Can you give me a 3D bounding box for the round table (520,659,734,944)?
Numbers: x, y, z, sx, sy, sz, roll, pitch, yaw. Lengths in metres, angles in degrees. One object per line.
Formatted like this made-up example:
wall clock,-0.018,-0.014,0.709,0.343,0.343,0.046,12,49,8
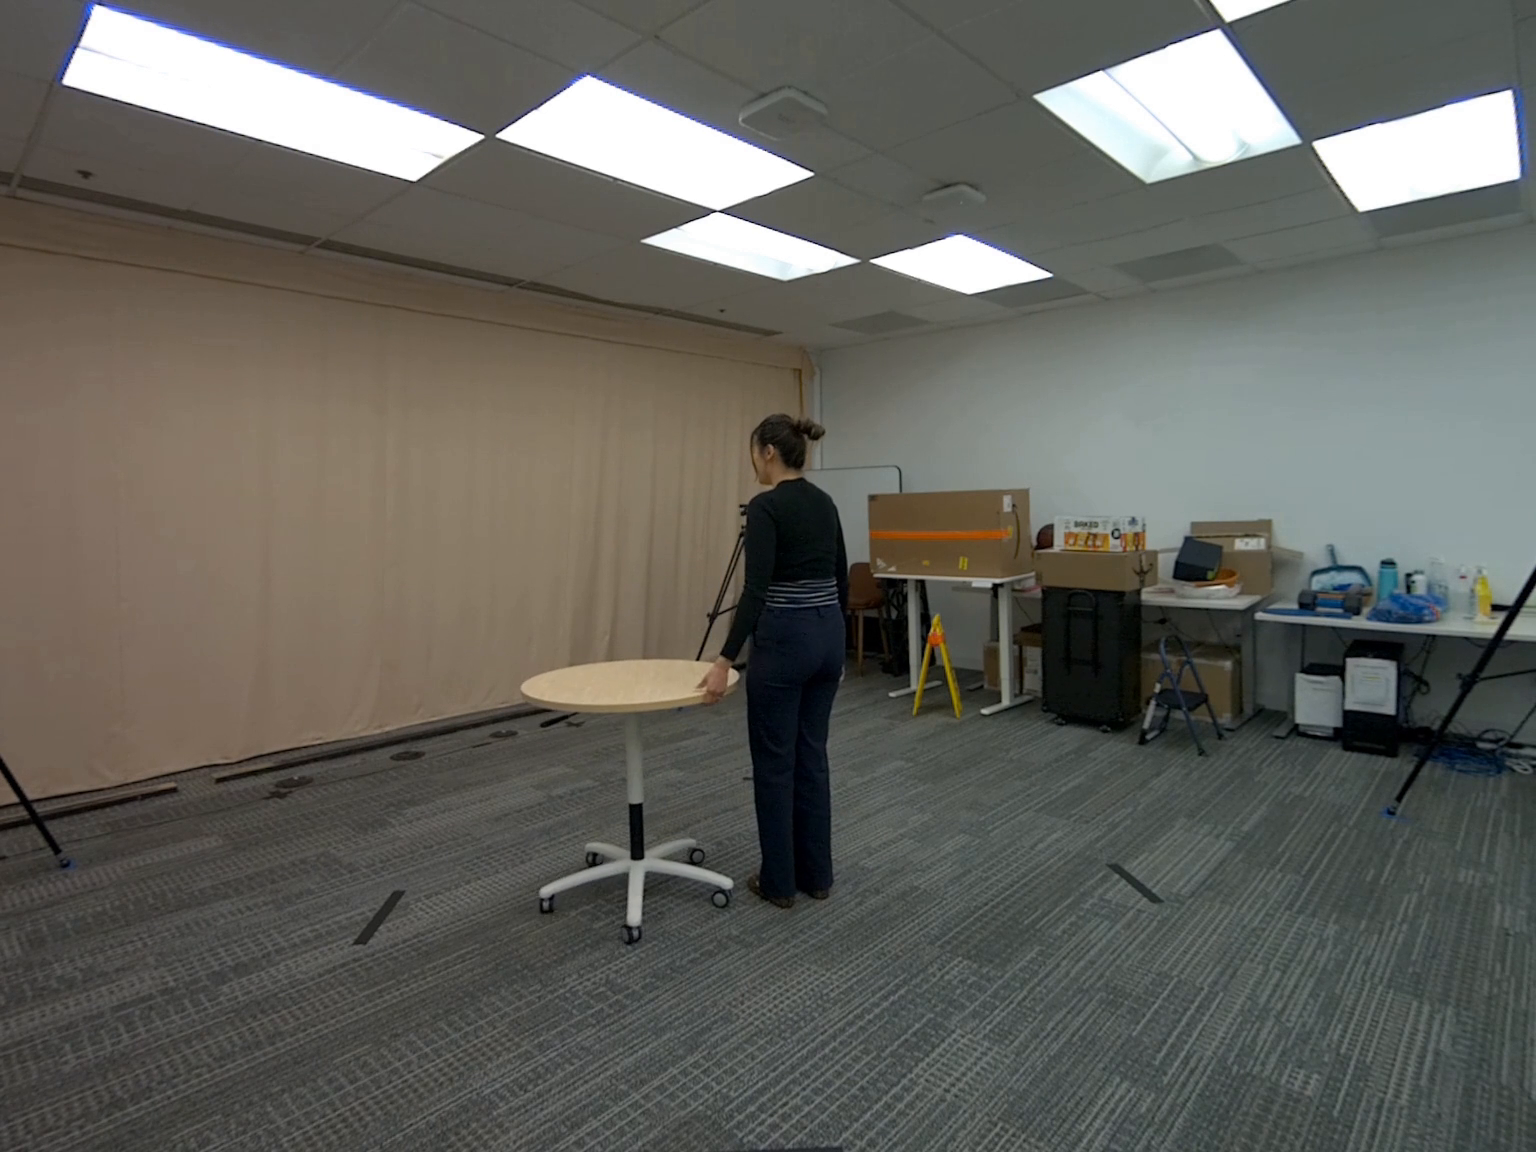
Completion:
round table,-0.468,0.762,2.997,0.763,0.792,0.766,-2,3,-2
